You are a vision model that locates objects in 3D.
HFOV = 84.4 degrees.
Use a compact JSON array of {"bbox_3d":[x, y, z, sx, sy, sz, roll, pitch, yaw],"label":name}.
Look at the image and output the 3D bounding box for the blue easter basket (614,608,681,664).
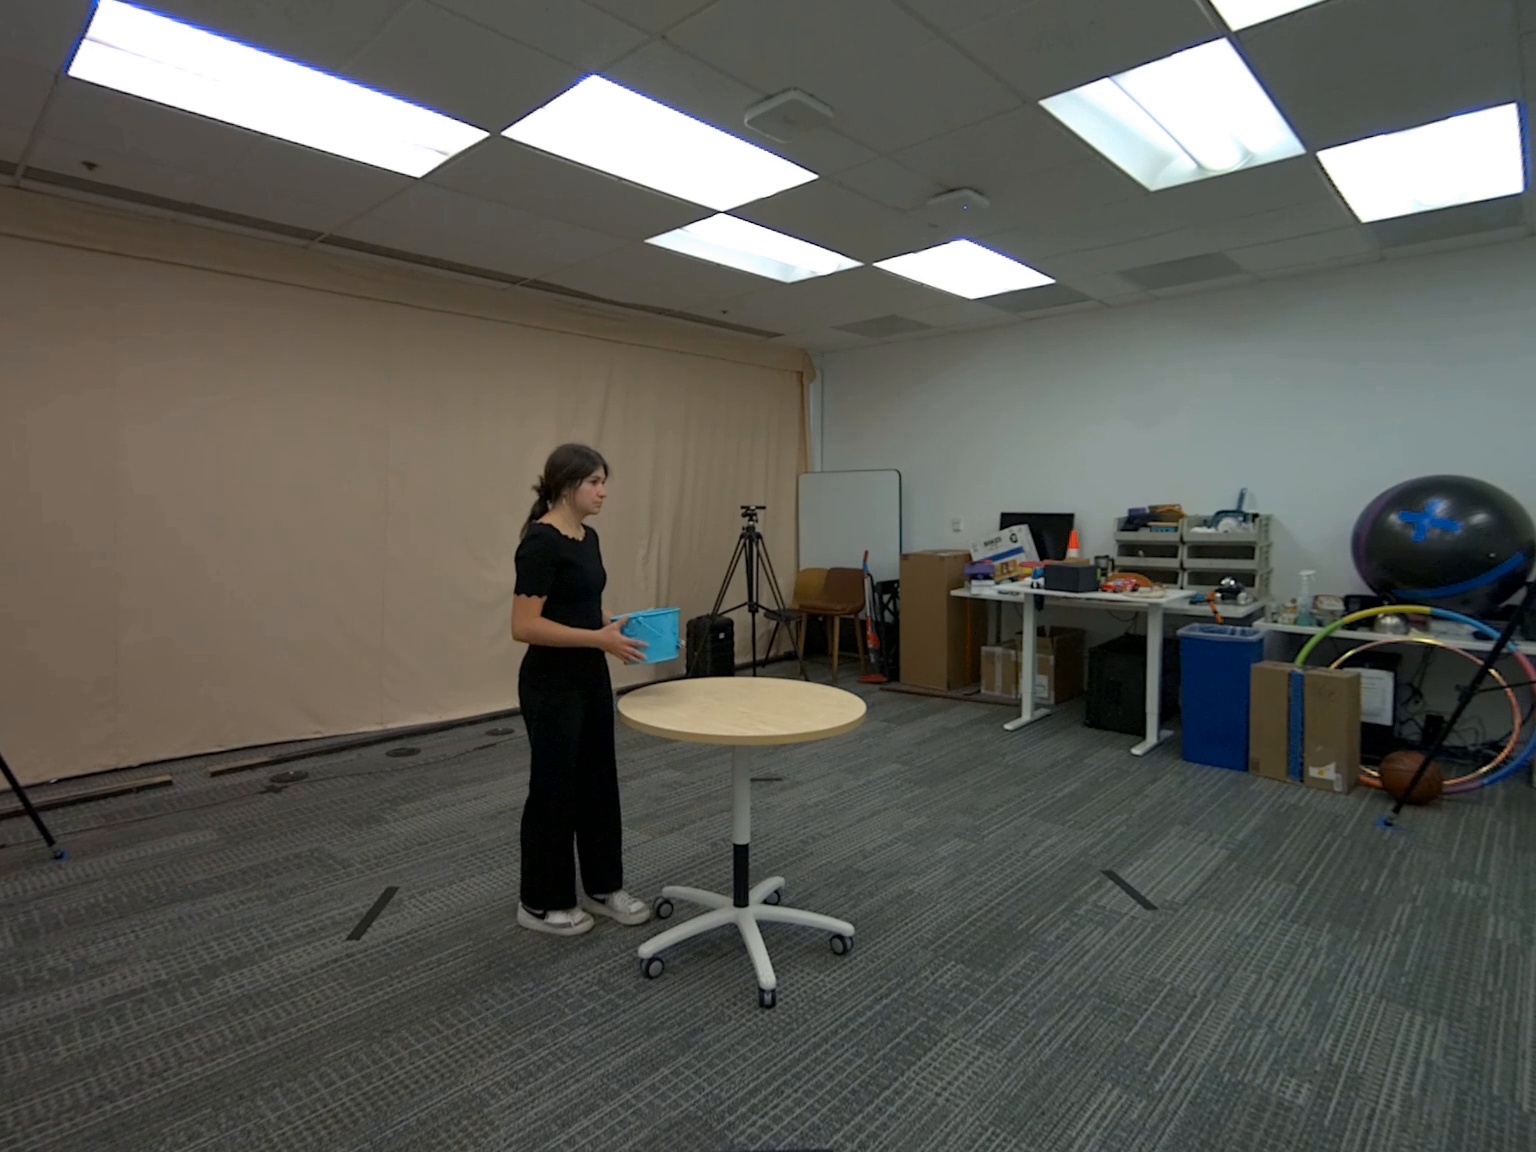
[{"bbox_3d":[-0.391,0.202,2.702,0.243,0.156,0.244,-9,2,-2],"label":"blue easter basket"}]
